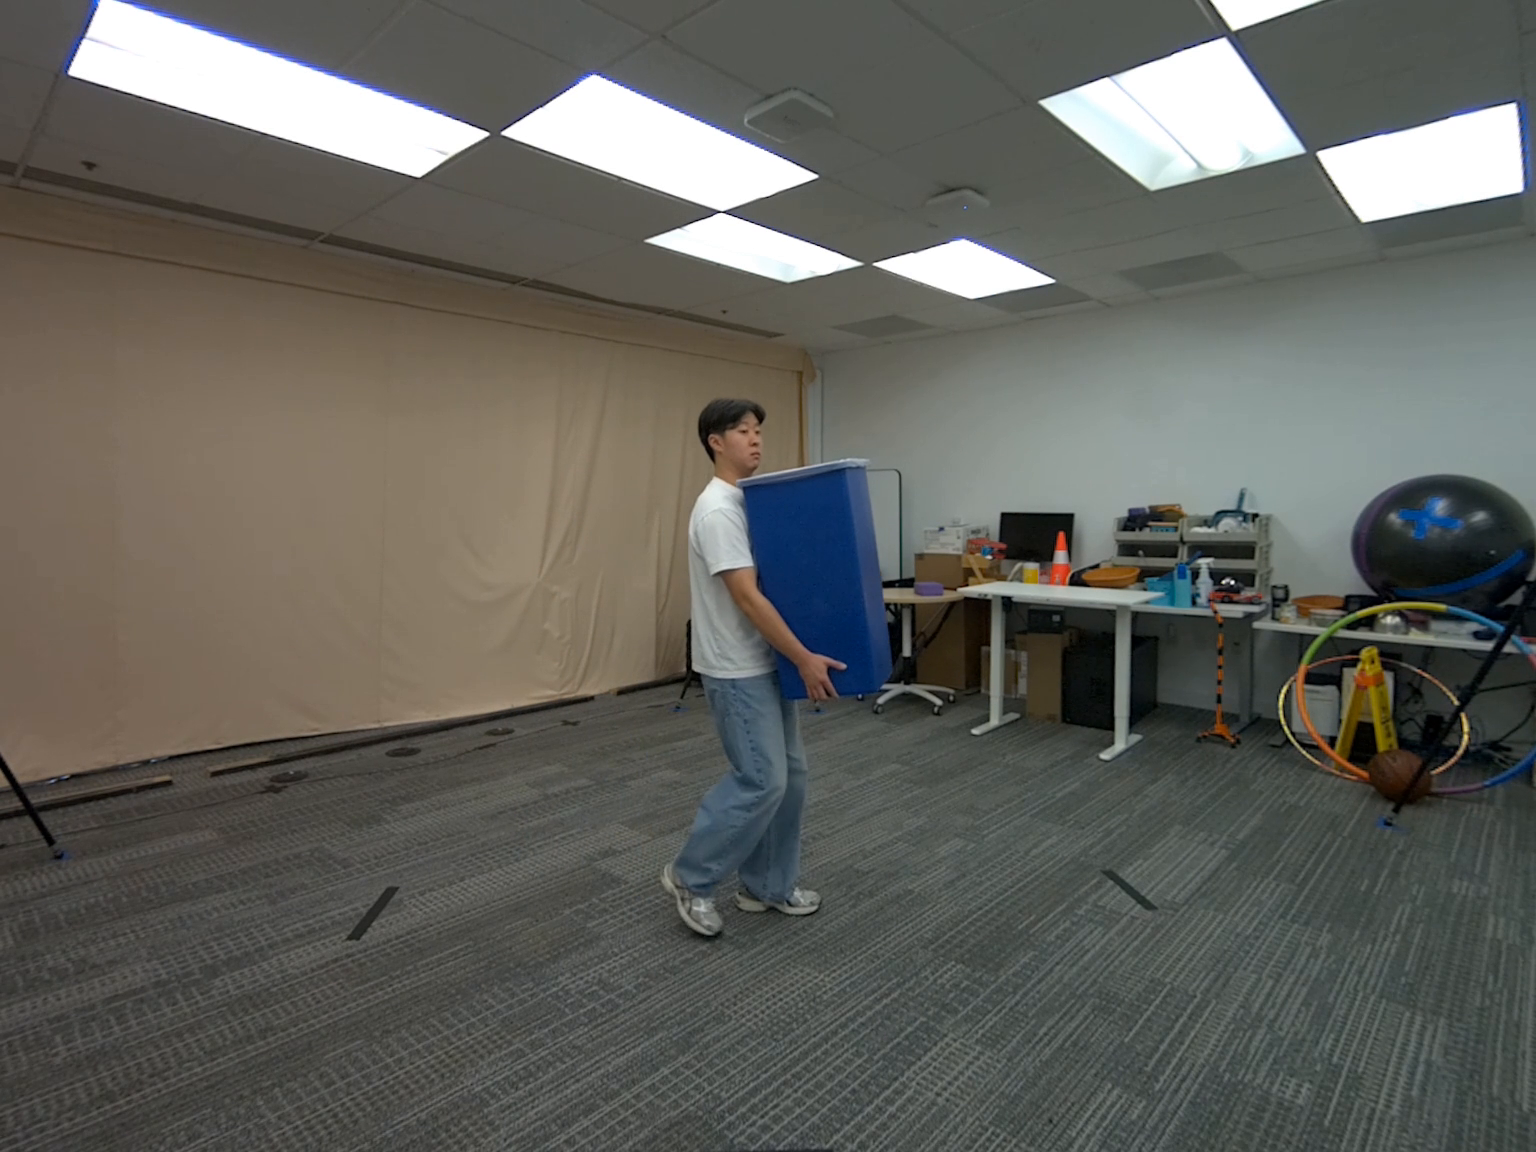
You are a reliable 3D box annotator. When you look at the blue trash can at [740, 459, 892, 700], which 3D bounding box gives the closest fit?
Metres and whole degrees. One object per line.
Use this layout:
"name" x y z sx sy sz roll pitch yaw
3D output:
"blue trash can" 0.178 0.005 2.718 0.385 0.713 0.367 -9 1 21
